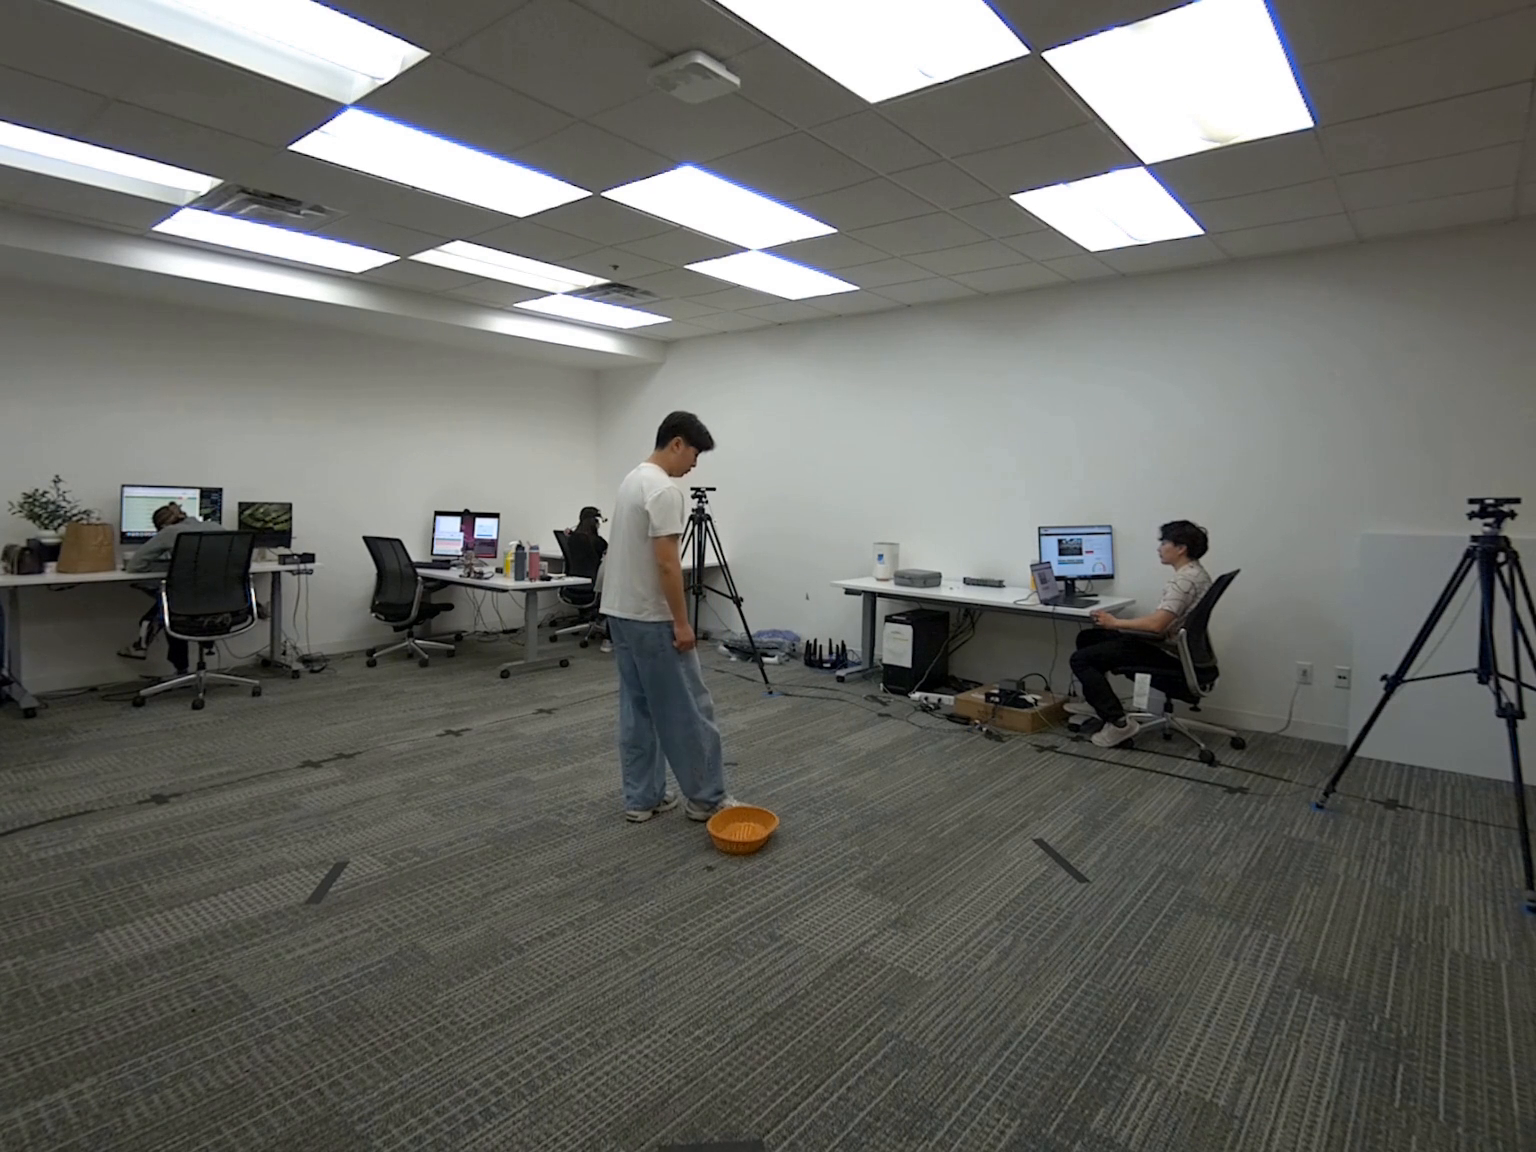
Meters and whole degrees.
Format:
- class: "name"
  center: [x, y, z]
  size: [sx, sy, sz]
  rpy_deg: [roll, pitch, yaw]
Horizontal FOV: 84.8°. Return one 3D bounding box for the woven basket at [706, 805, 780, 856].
- class: "woven basket"
  center: [-0.117, 0.998, 3.364]
  size: [0.259, 0.073, 0.343]
  rpy_deg: [6, 8, 25]
